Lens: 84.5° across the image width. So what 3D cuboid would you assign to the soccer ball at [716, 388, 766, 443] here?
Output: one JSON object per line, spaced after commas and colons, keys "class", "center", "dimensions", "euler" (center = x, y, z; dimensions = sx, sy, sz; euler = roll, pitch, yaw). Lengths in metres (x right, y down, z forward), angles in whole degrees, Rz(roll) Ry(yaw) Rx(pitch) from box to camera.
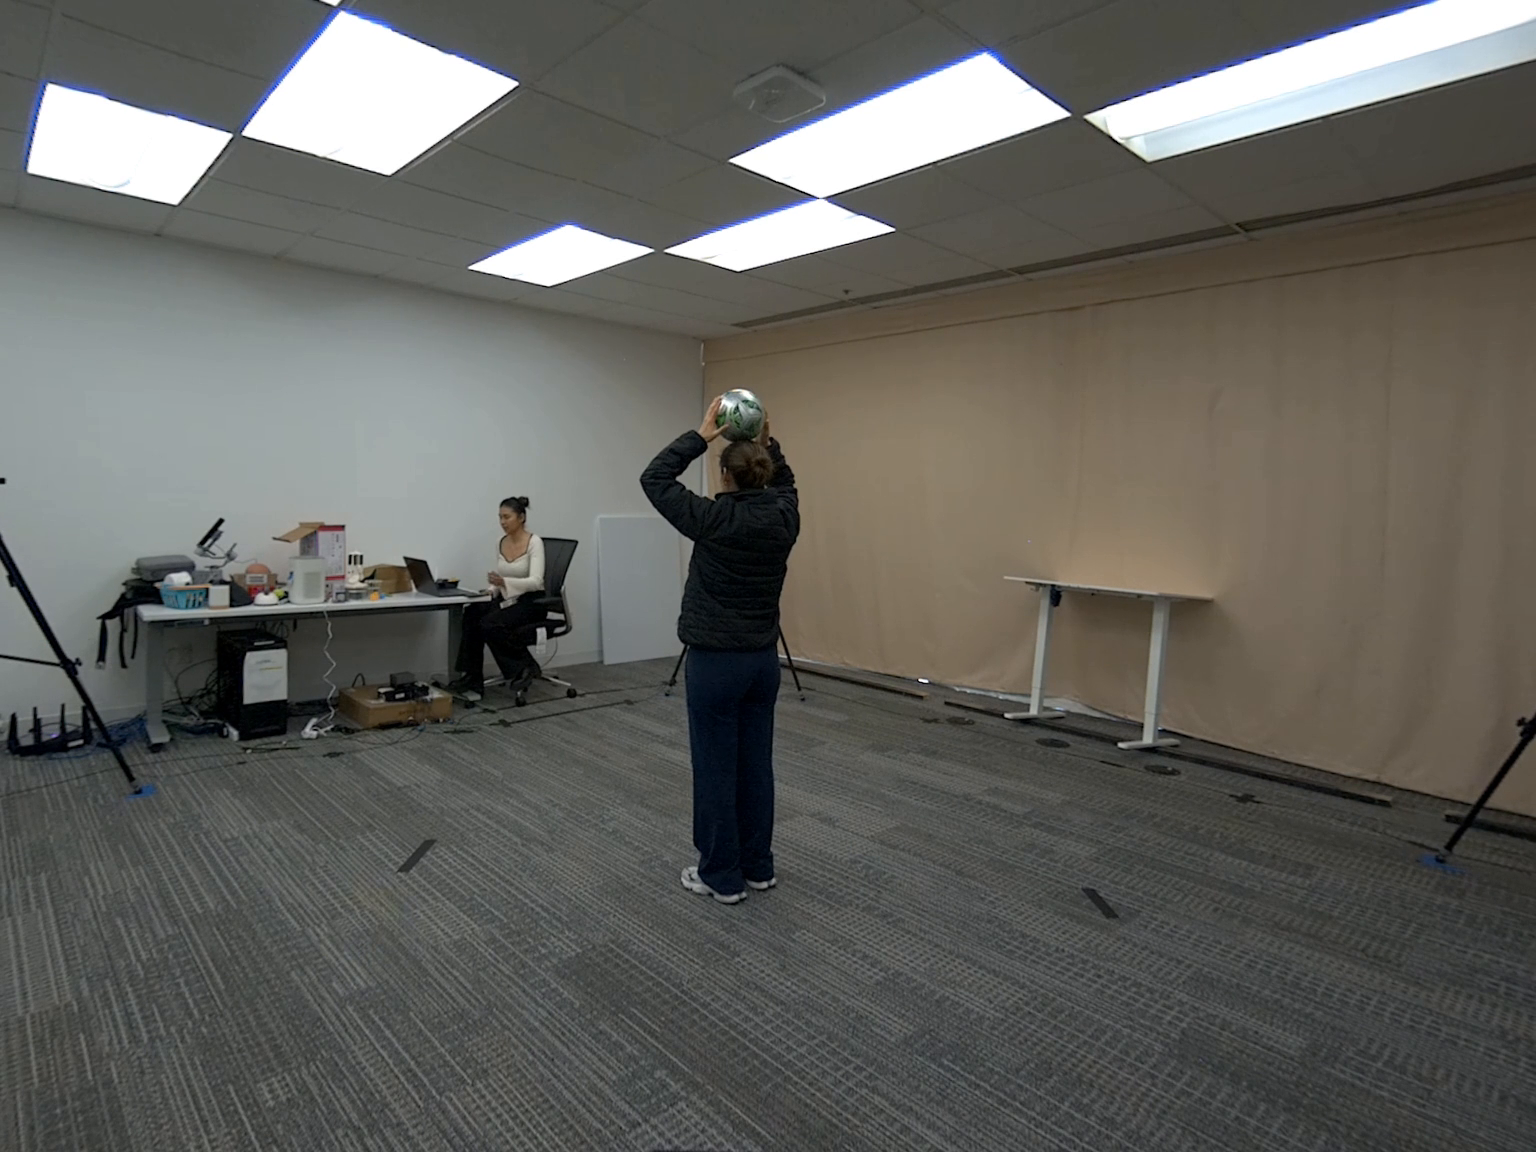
{"class": "soccer ball", "center": [-0.104, -0.561, 2.957], "dimensions": [0.187, 0.187, 0.188], "euler": [1, 4, -1]}
